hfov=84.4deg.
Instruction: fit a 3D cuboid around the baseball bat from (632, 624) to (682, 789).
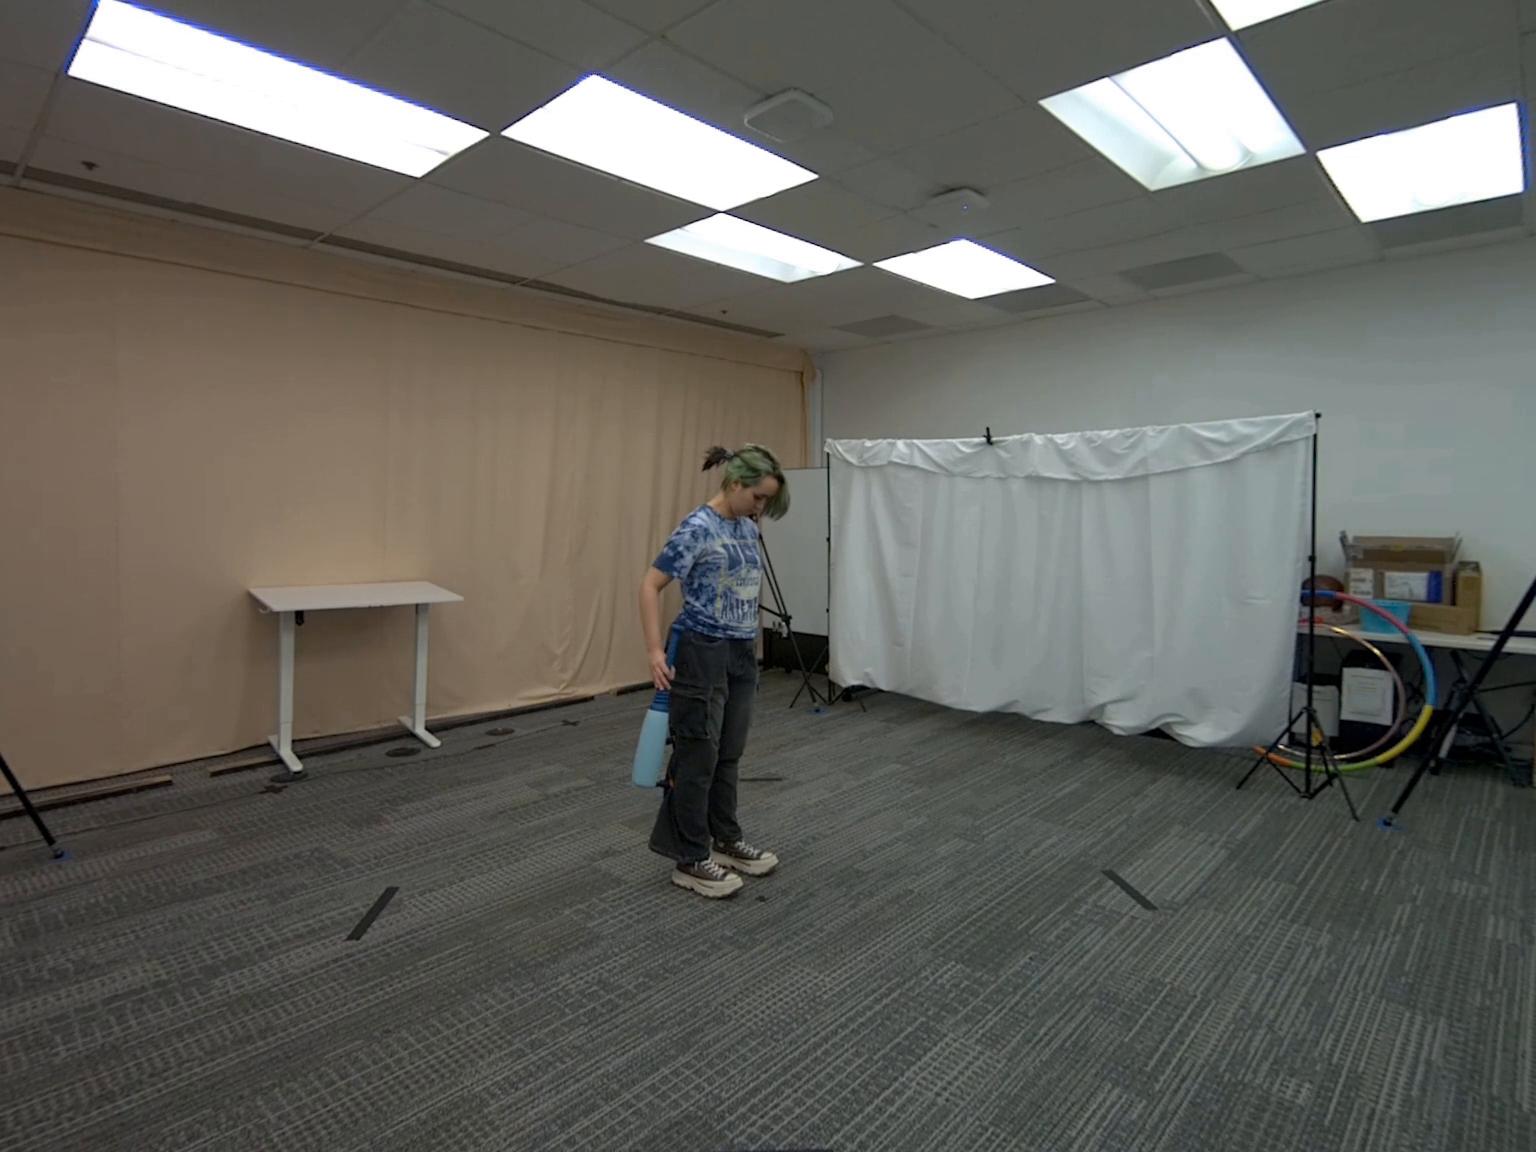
[{"bbox_3d":[-0.353,0.429,2.815,0.089,0.544,0.089,13,-8,0],"label":"baseball bat"}]
